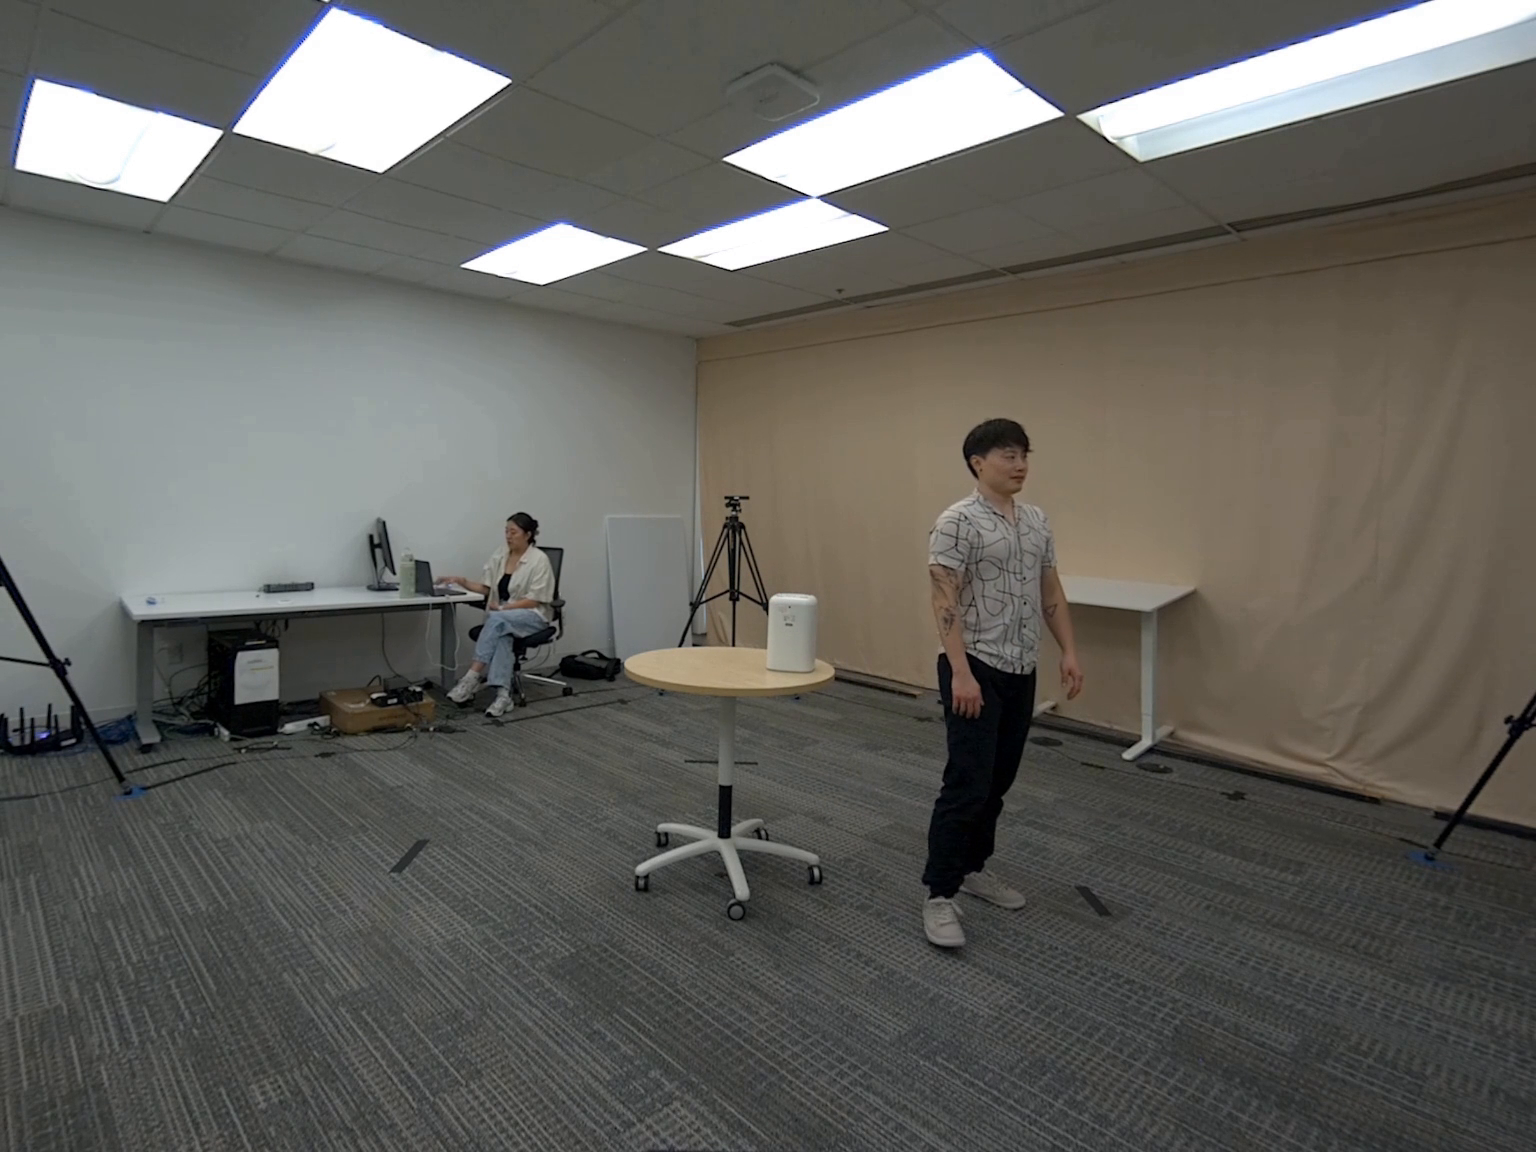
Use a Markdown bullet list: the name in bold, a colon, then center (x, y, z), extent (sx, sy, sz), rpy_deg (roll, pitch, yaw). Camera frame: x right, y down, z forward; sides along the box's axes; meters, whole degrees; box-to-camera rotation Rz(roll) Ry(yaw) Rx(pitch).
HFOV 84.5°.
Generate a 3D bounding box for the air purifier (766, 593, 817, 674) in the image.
- **air purifier**: center (0.088, 0.203, 3.057), extent (0.173, 0.265, 0.170), rpy_deg (2, 2, 14)
